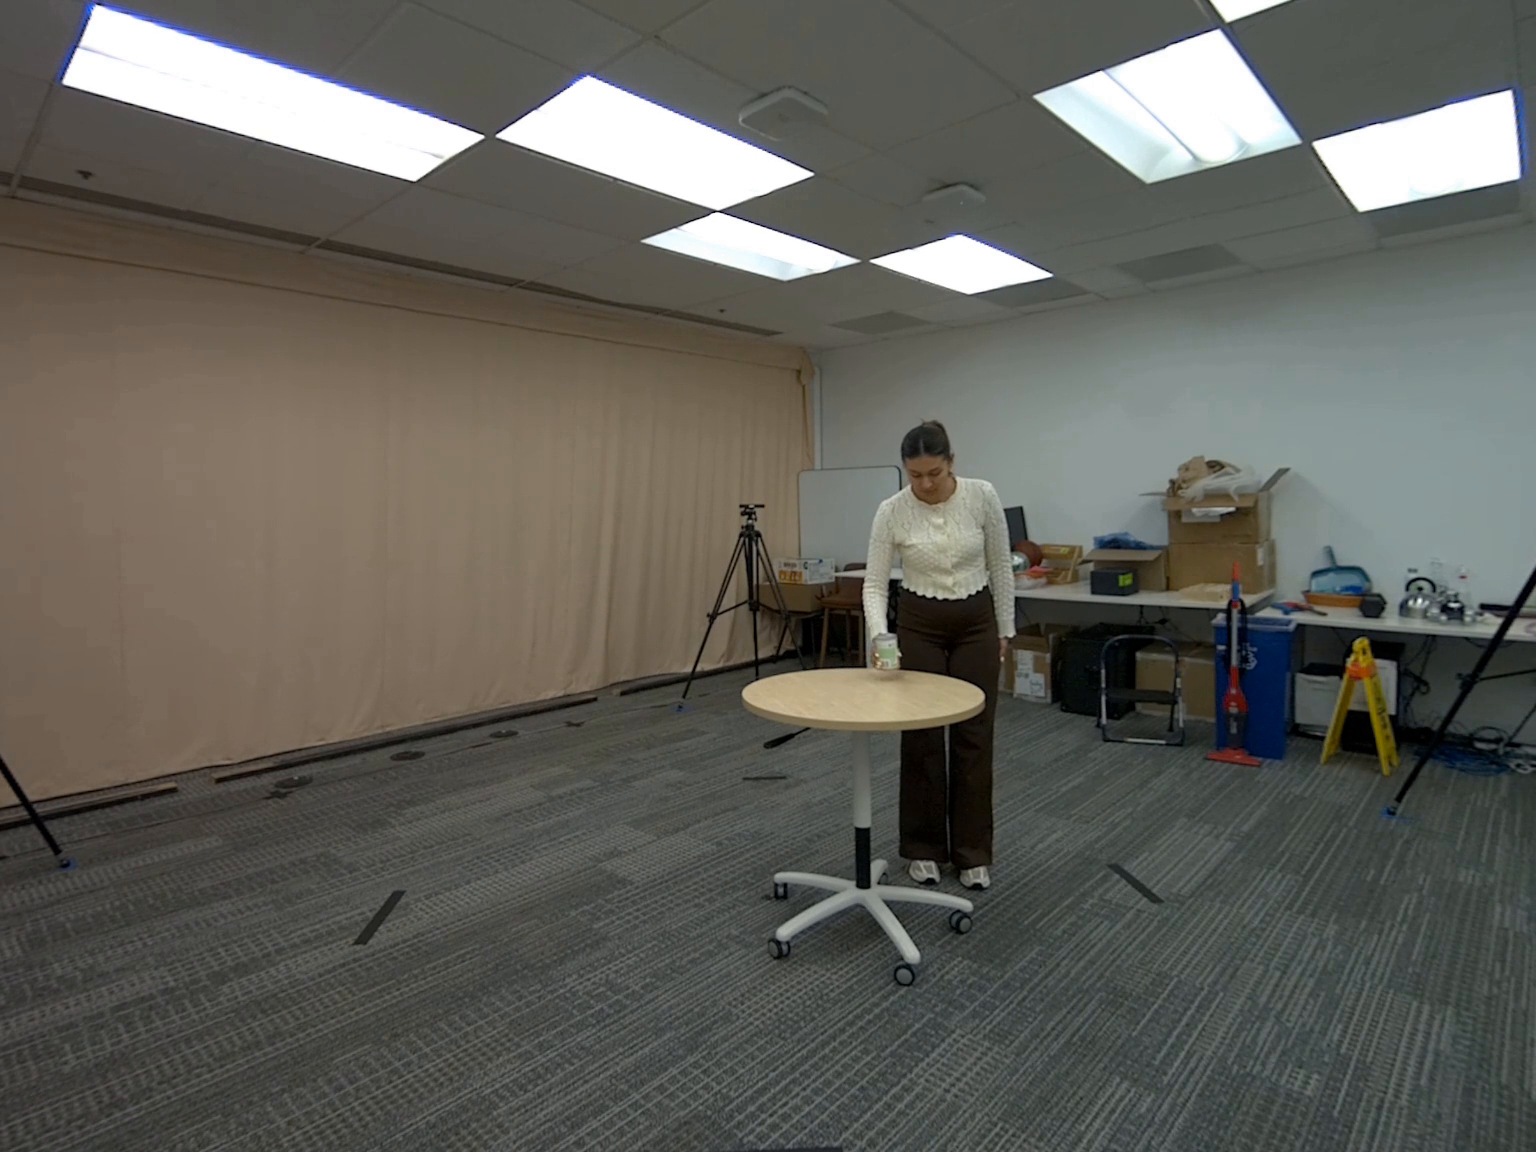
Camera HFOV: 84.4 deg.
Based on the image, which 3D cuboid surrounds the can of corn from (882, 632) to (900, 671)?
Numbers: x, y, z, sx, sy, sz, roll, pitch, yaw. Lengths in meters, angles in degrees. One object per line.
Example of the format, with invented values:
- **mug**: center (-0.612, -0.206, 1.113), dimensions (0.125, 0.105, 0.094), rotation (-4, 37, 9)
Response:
- **can of corn**: center (0.462, 0.257, 2.840), dimensions (0.074, 0.110, 0.074), rotation (-8, 6, -1)
